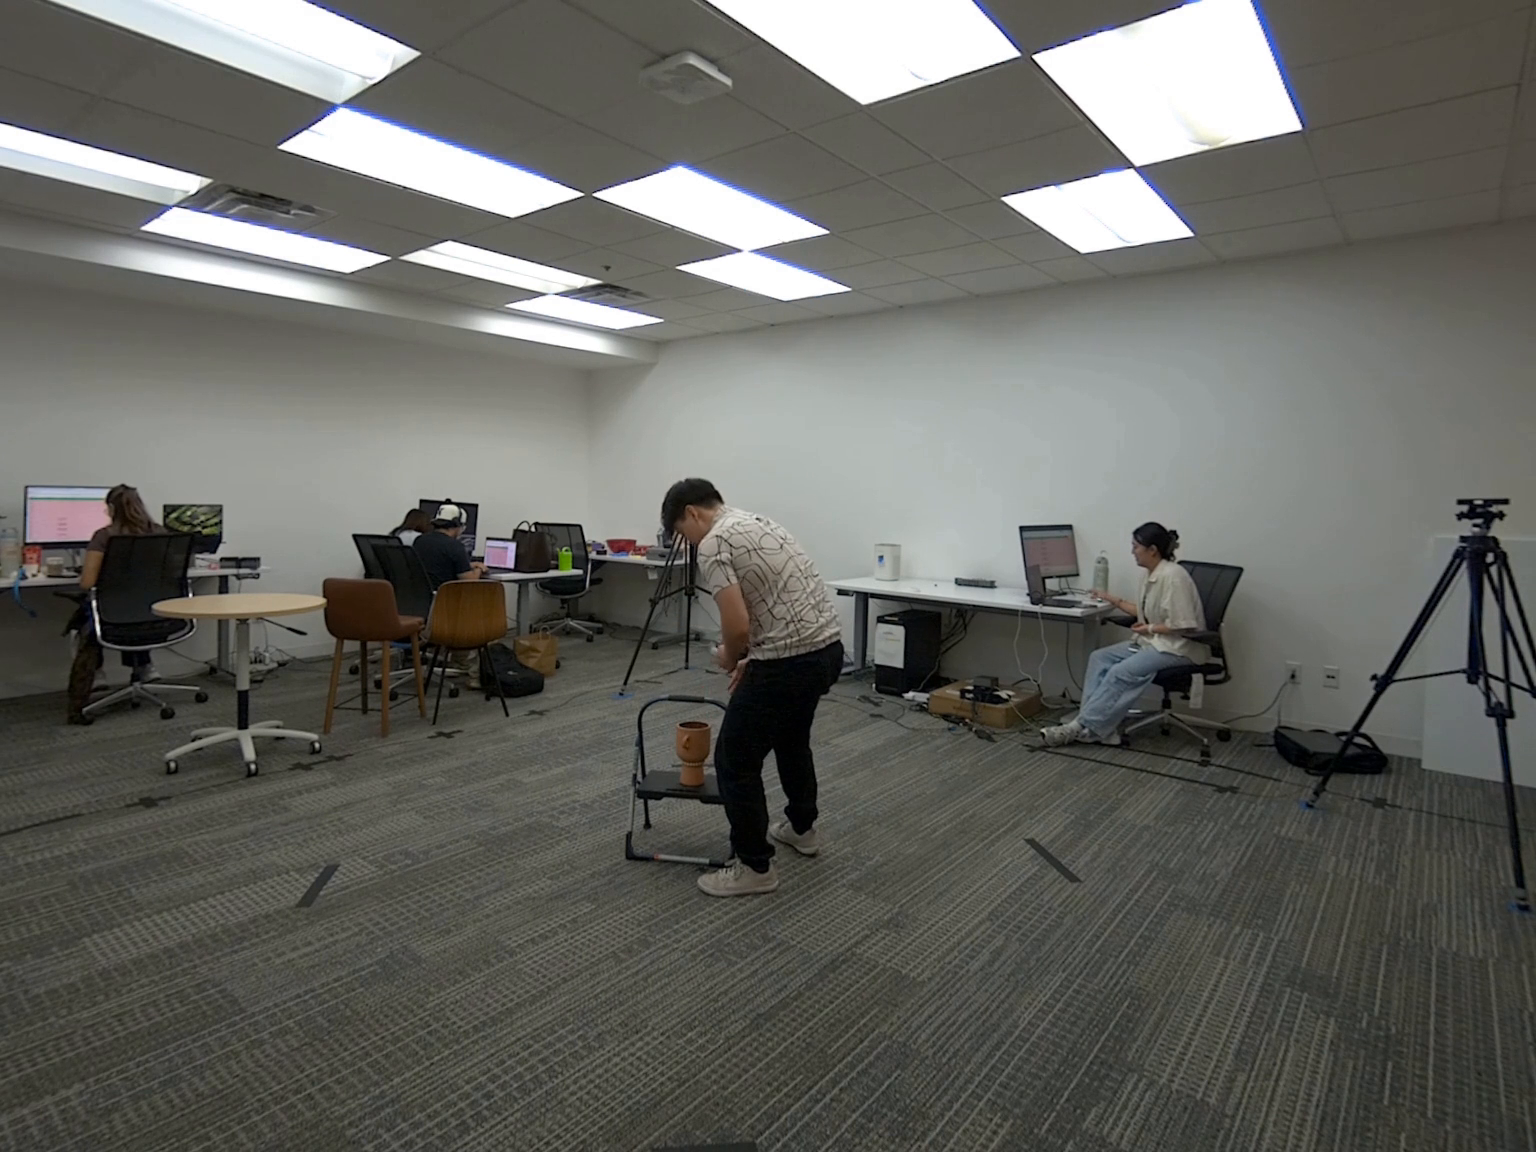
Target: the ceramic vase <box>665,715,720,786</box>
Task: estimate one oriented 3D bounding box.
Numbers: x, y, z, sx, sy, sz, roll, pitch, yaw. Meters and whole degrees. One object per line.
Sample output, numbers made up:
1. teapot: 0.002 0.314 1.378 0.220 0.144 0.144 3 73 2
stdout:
1. ceramic vase: -0.296 0.672 3.271 0.154 0.219 0.139 0 2 -31
